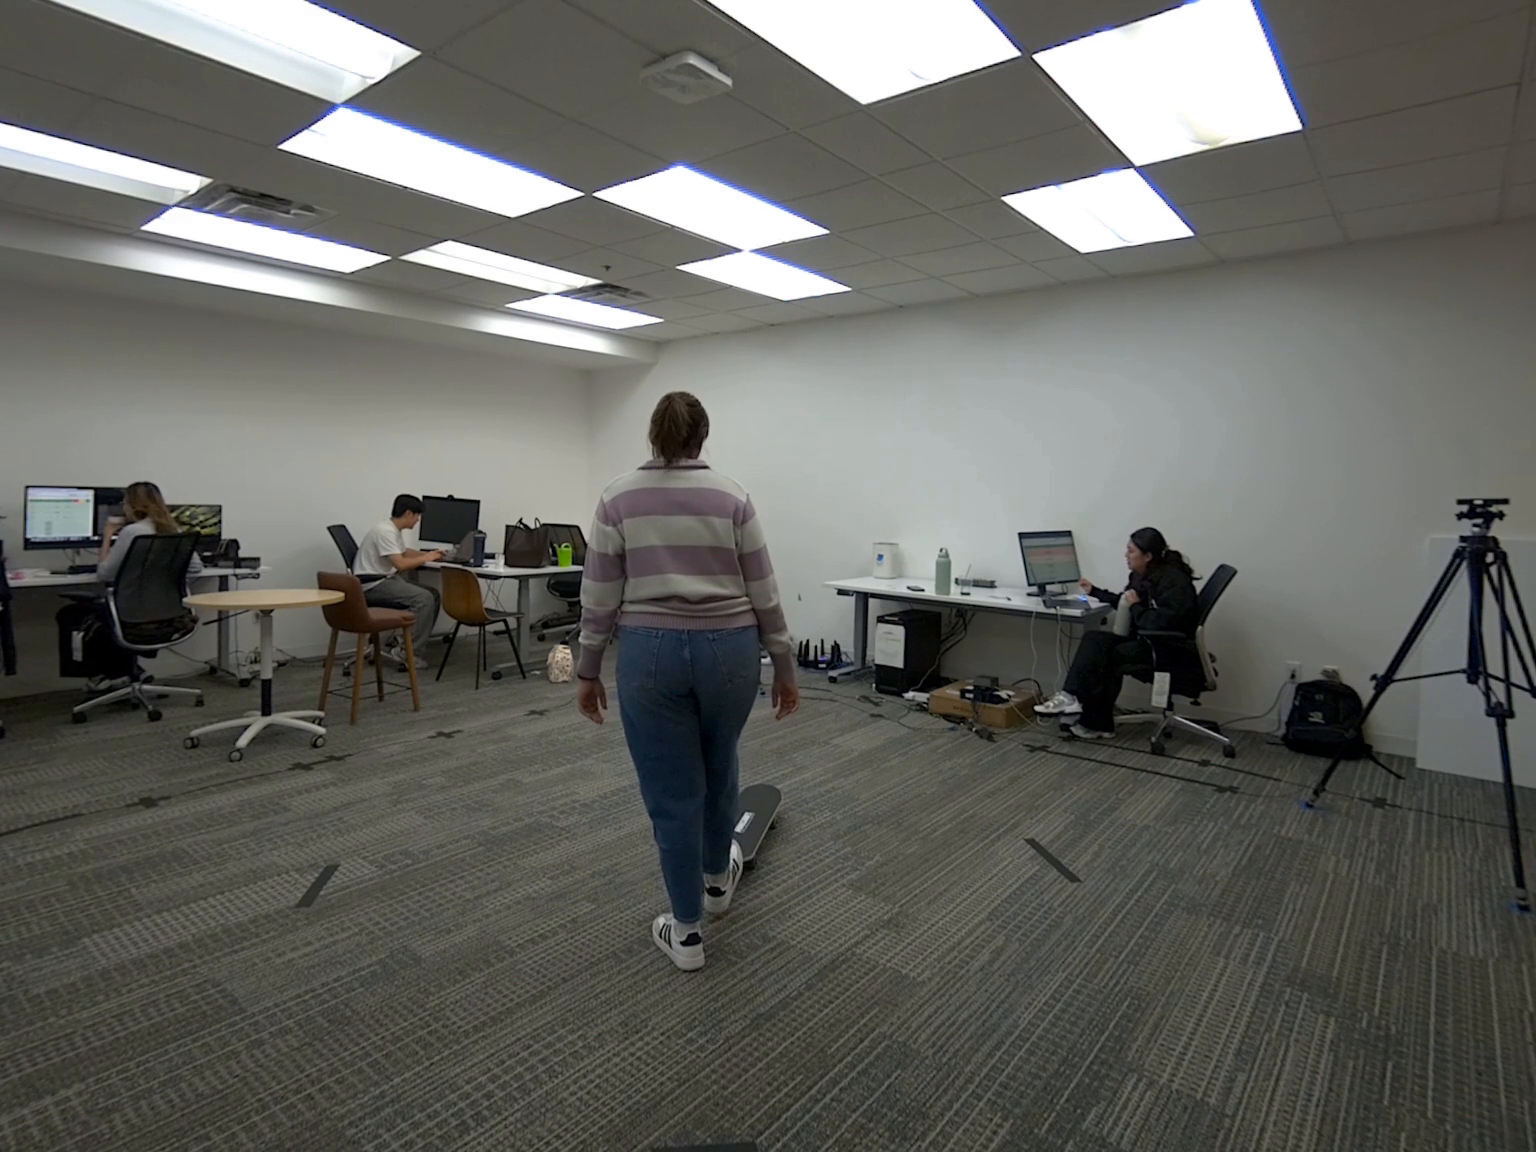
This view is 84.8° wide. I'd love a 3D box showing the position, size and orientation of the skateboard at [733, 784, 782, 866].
[{"bbox_3d":[-0.099,0.987,3.331,0.196,0.110,0.777,3,6,11],"label":"skateboard"}]
